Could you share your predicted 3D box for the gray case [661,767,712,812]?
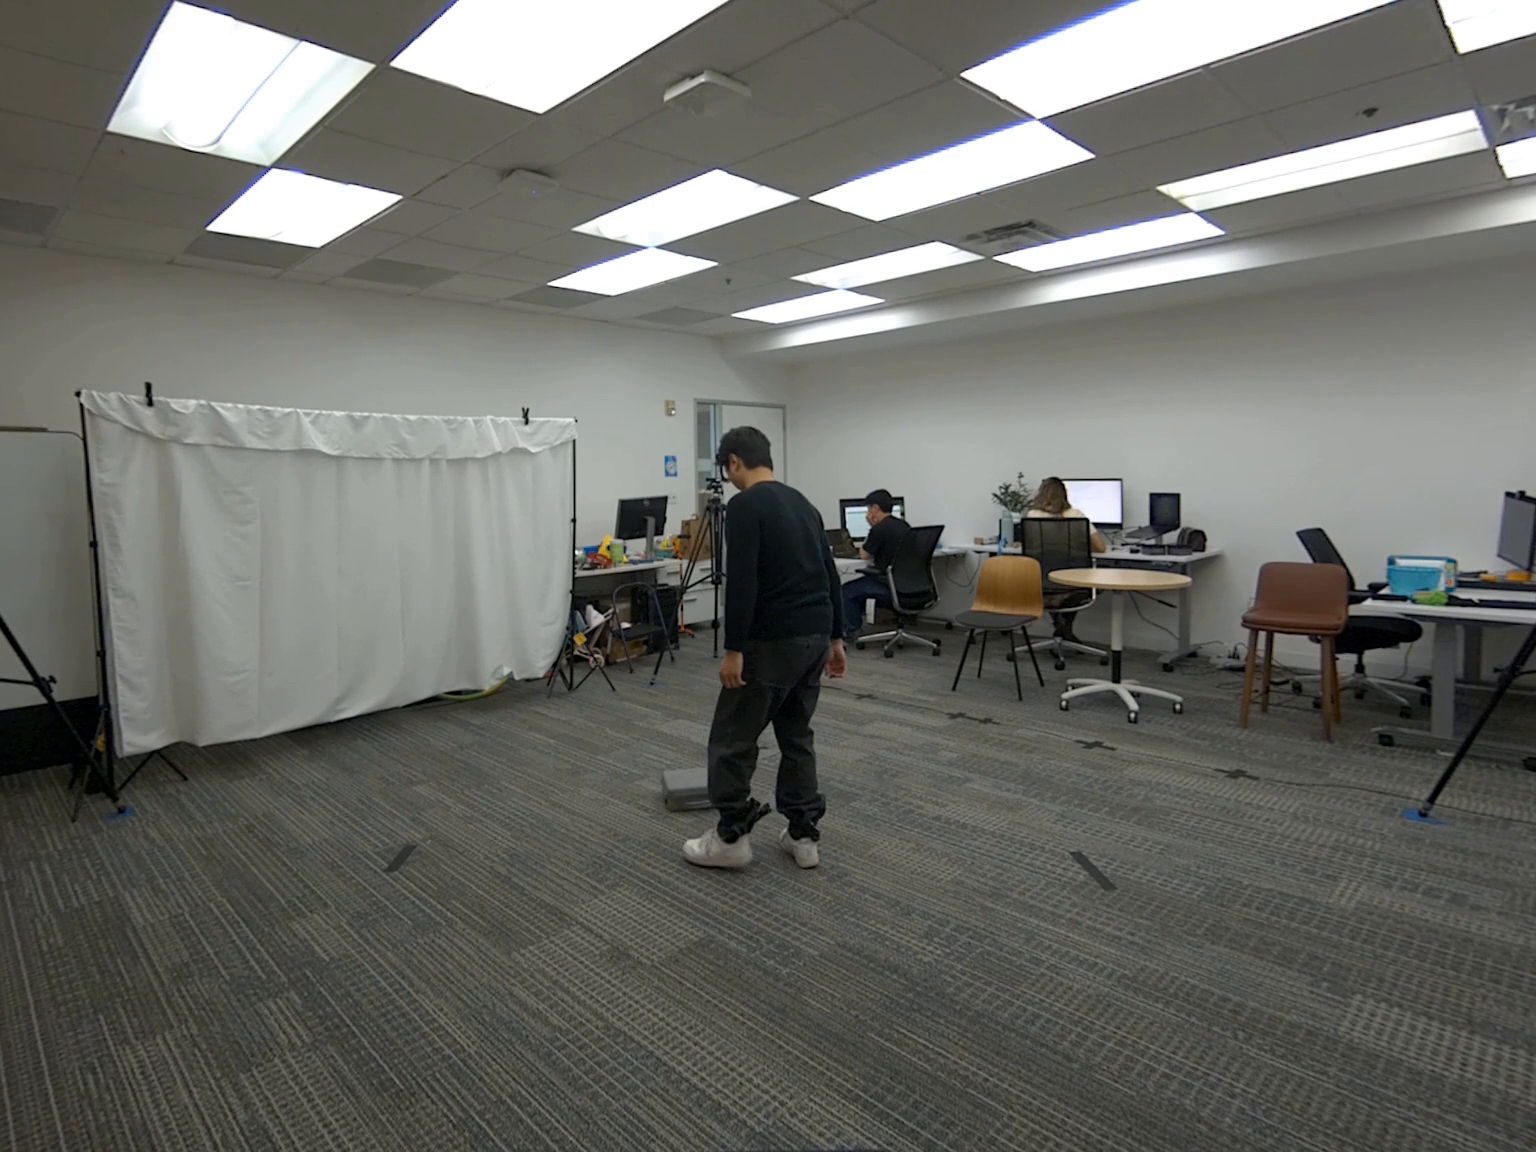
[{"bbox_3d":[-0.323,0.921,3.720,0.254,0.104,0.265,-1,7,-11],"label":"gray case"}]
